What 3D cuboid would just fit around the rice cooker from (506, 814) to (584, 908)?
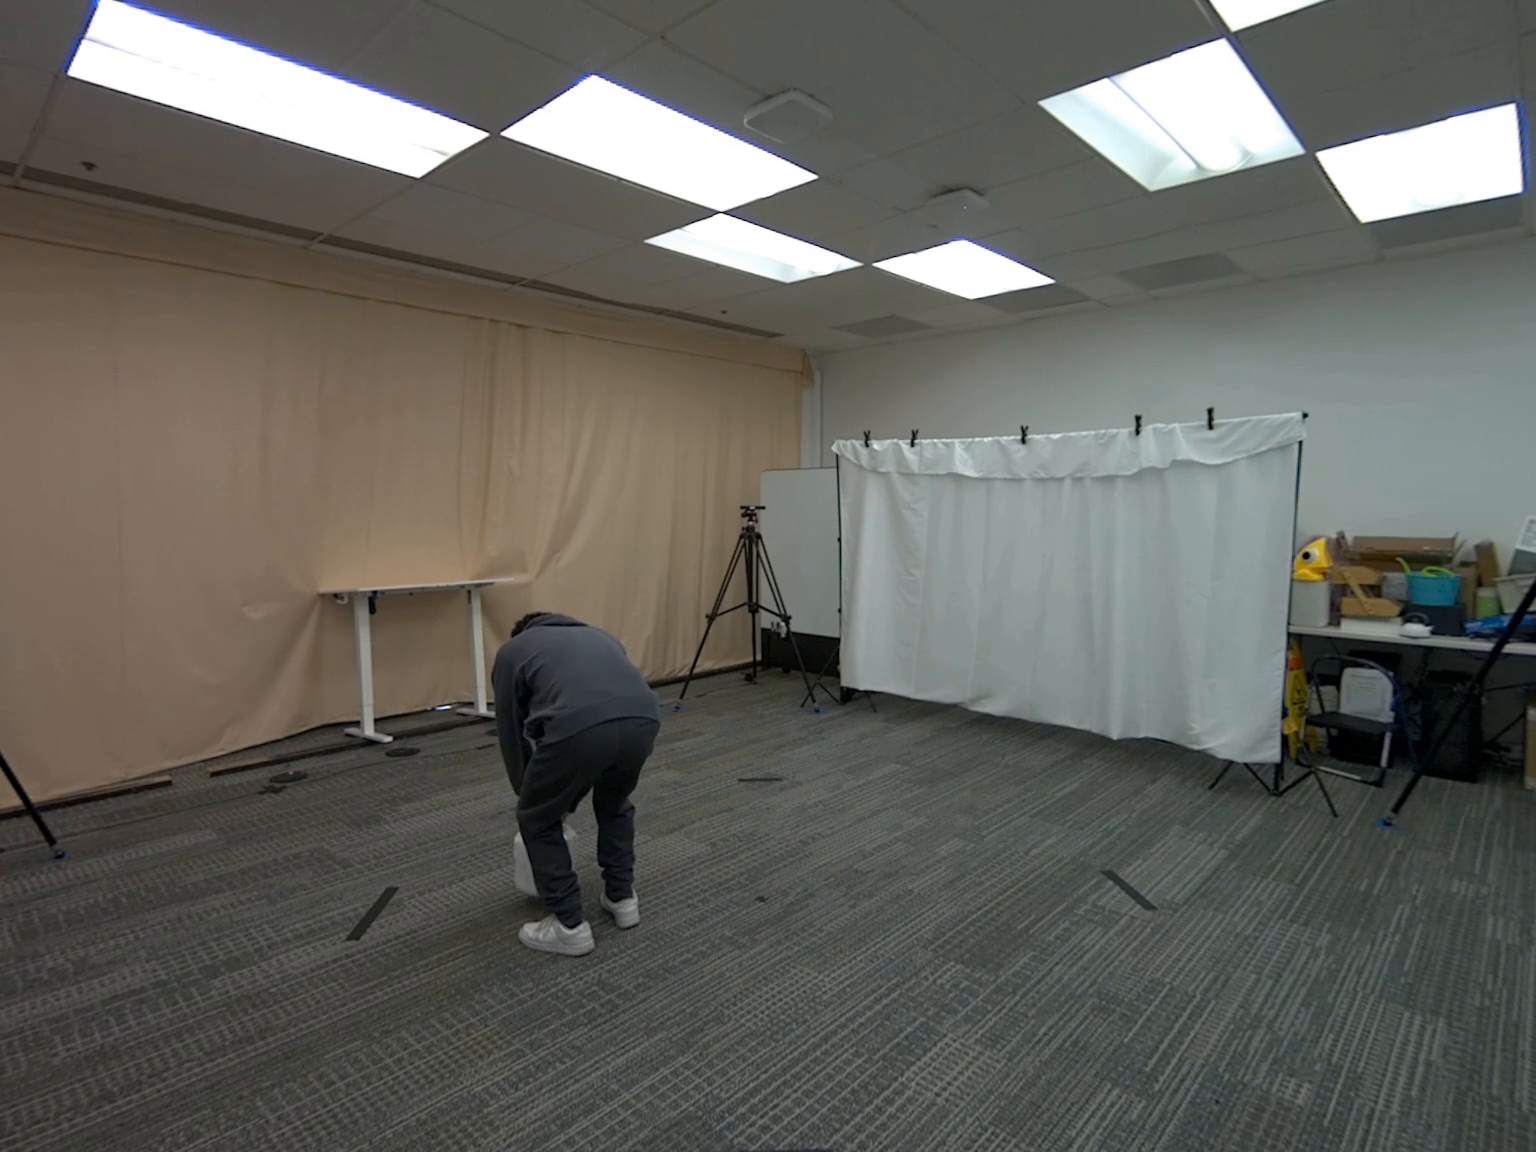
[{"bbox_3d":[-0.782,0.978,2.951,0.215,0.232,0.223,1,2,-25],"label":"rice cooker"}]
